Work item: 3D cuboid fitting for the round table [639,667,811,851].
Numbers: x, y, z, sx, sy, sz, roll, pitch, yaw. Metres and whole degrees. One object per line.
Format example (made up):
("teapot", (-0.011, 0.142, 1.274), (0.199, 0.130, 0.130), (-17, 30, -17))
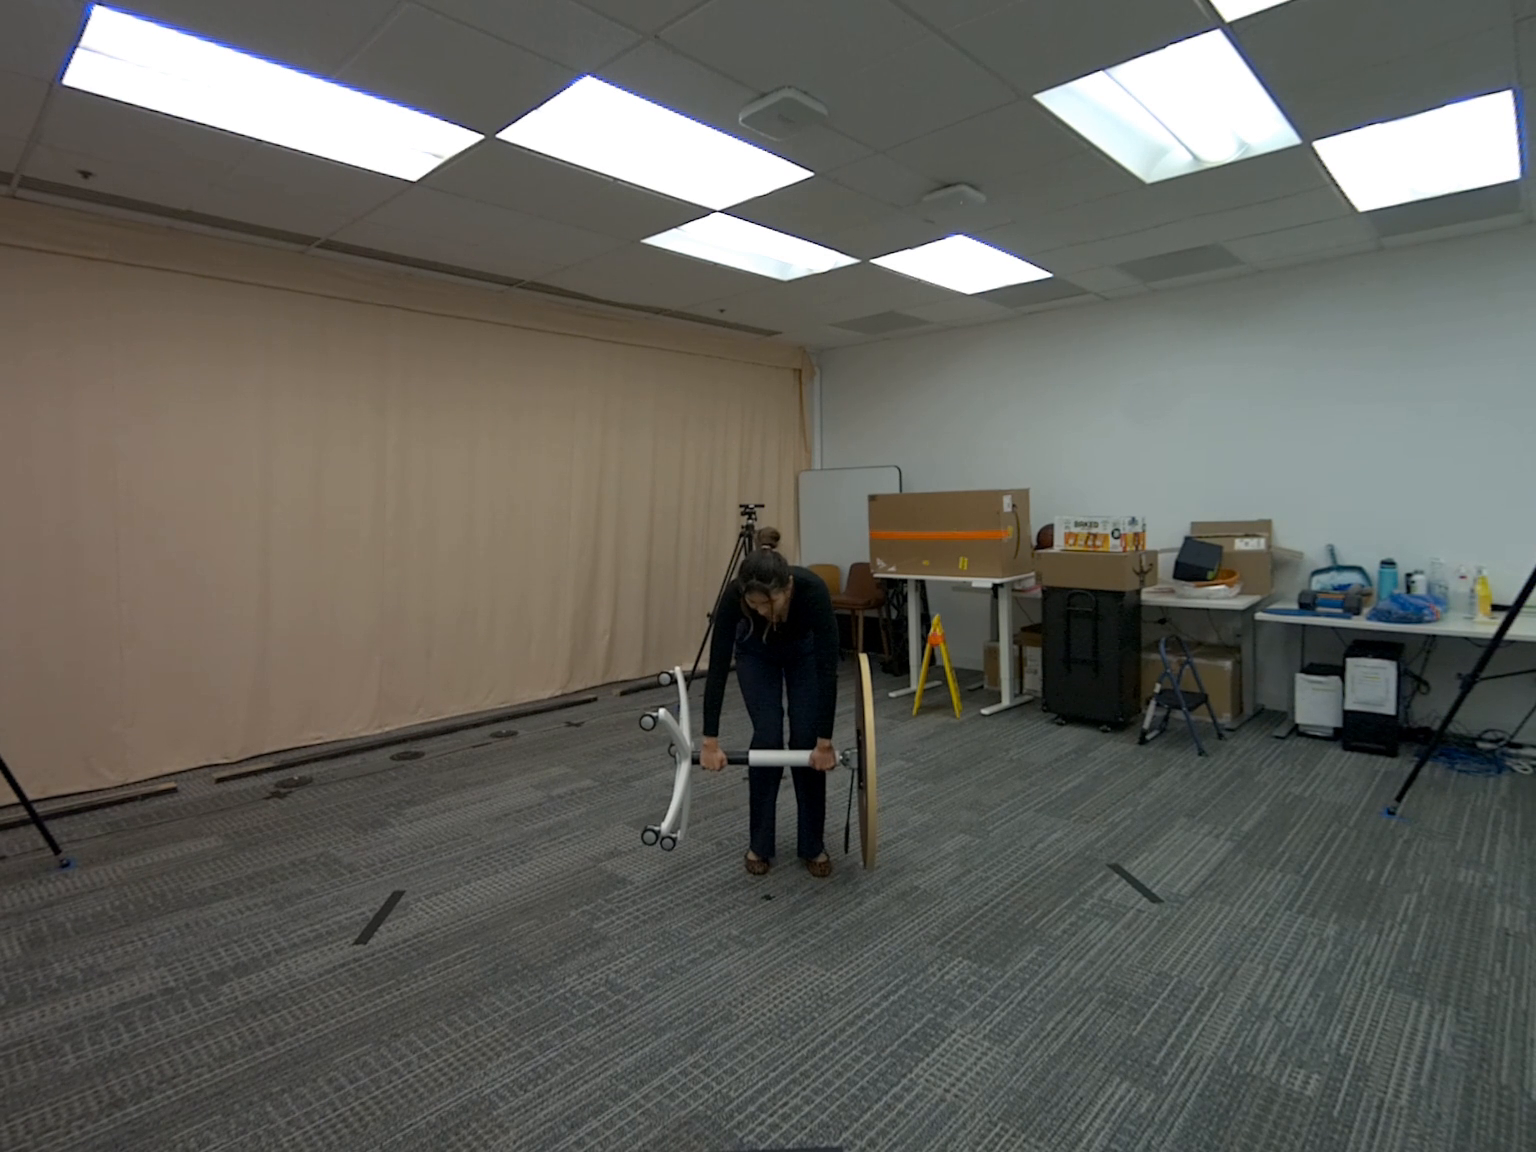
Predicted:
("round table", (-0.026, 0.682, 3.126), (0.797, 0.762, 0.763), (-1, 4, 3))
